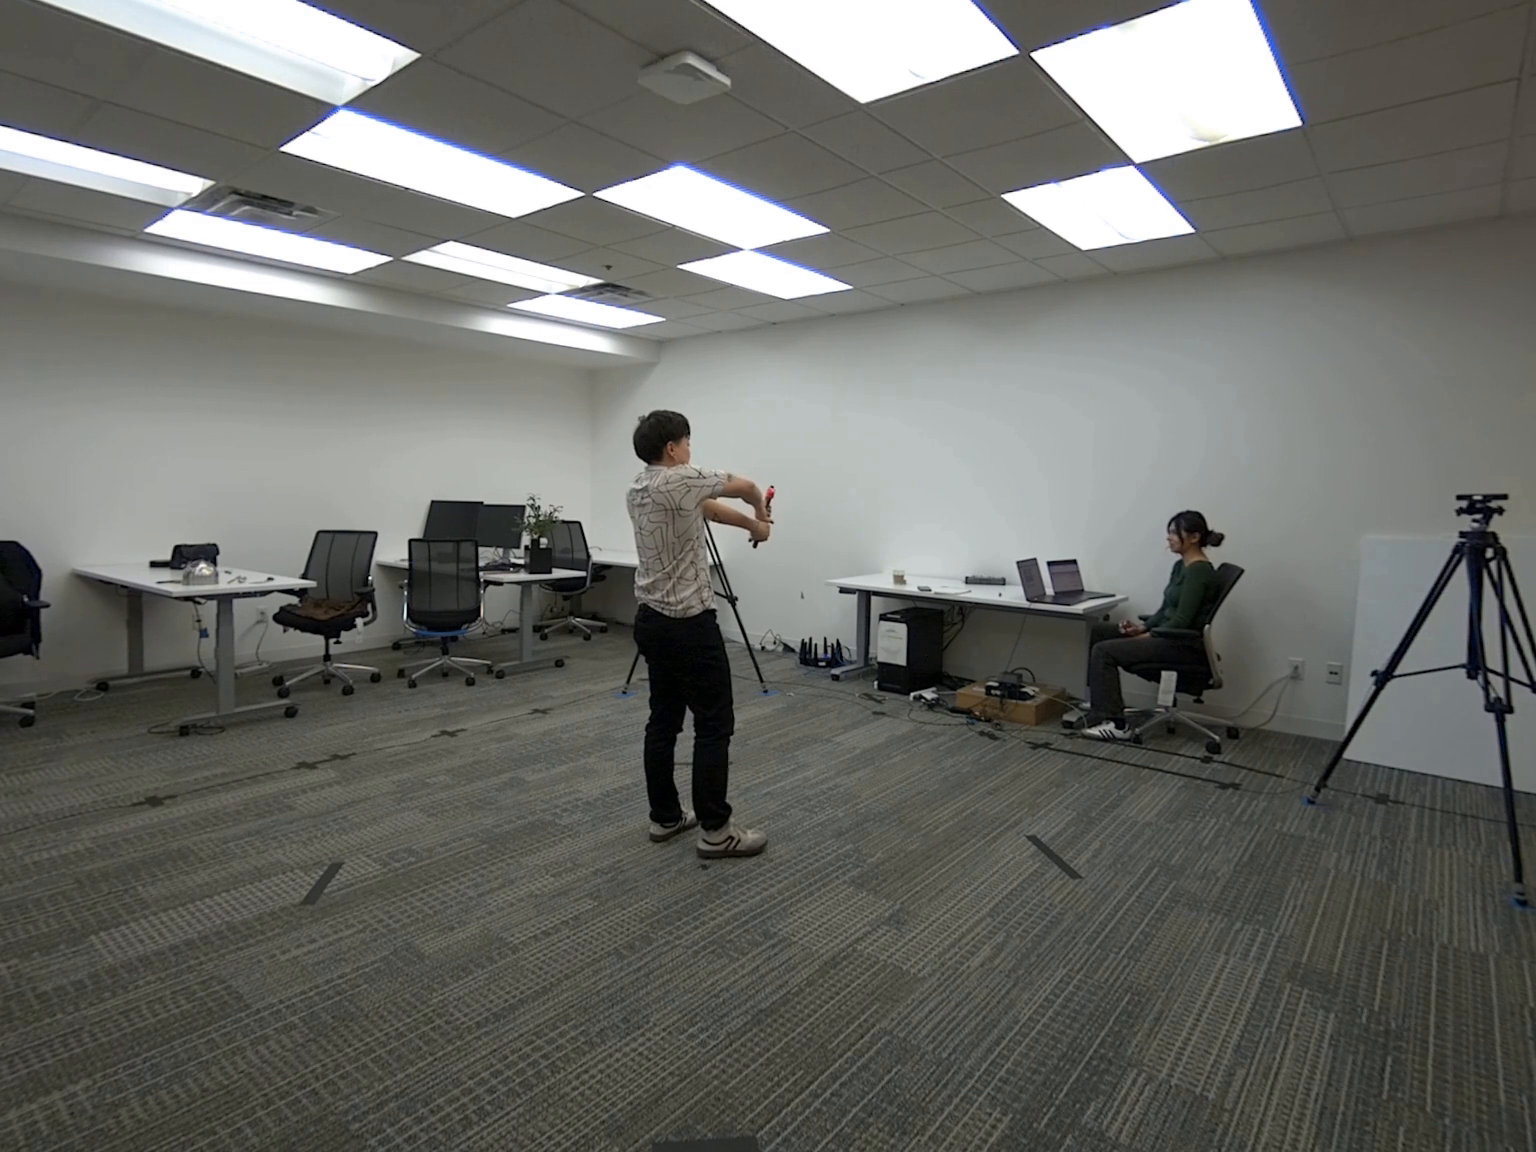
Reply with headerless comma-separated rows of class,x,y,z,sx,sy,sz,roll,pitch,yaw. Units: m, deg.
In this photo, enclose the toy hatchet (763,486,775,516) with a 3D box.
toy hatchet,-0.032,-0.271,3.658,0.029,0.268,0.133,19,18,-8
